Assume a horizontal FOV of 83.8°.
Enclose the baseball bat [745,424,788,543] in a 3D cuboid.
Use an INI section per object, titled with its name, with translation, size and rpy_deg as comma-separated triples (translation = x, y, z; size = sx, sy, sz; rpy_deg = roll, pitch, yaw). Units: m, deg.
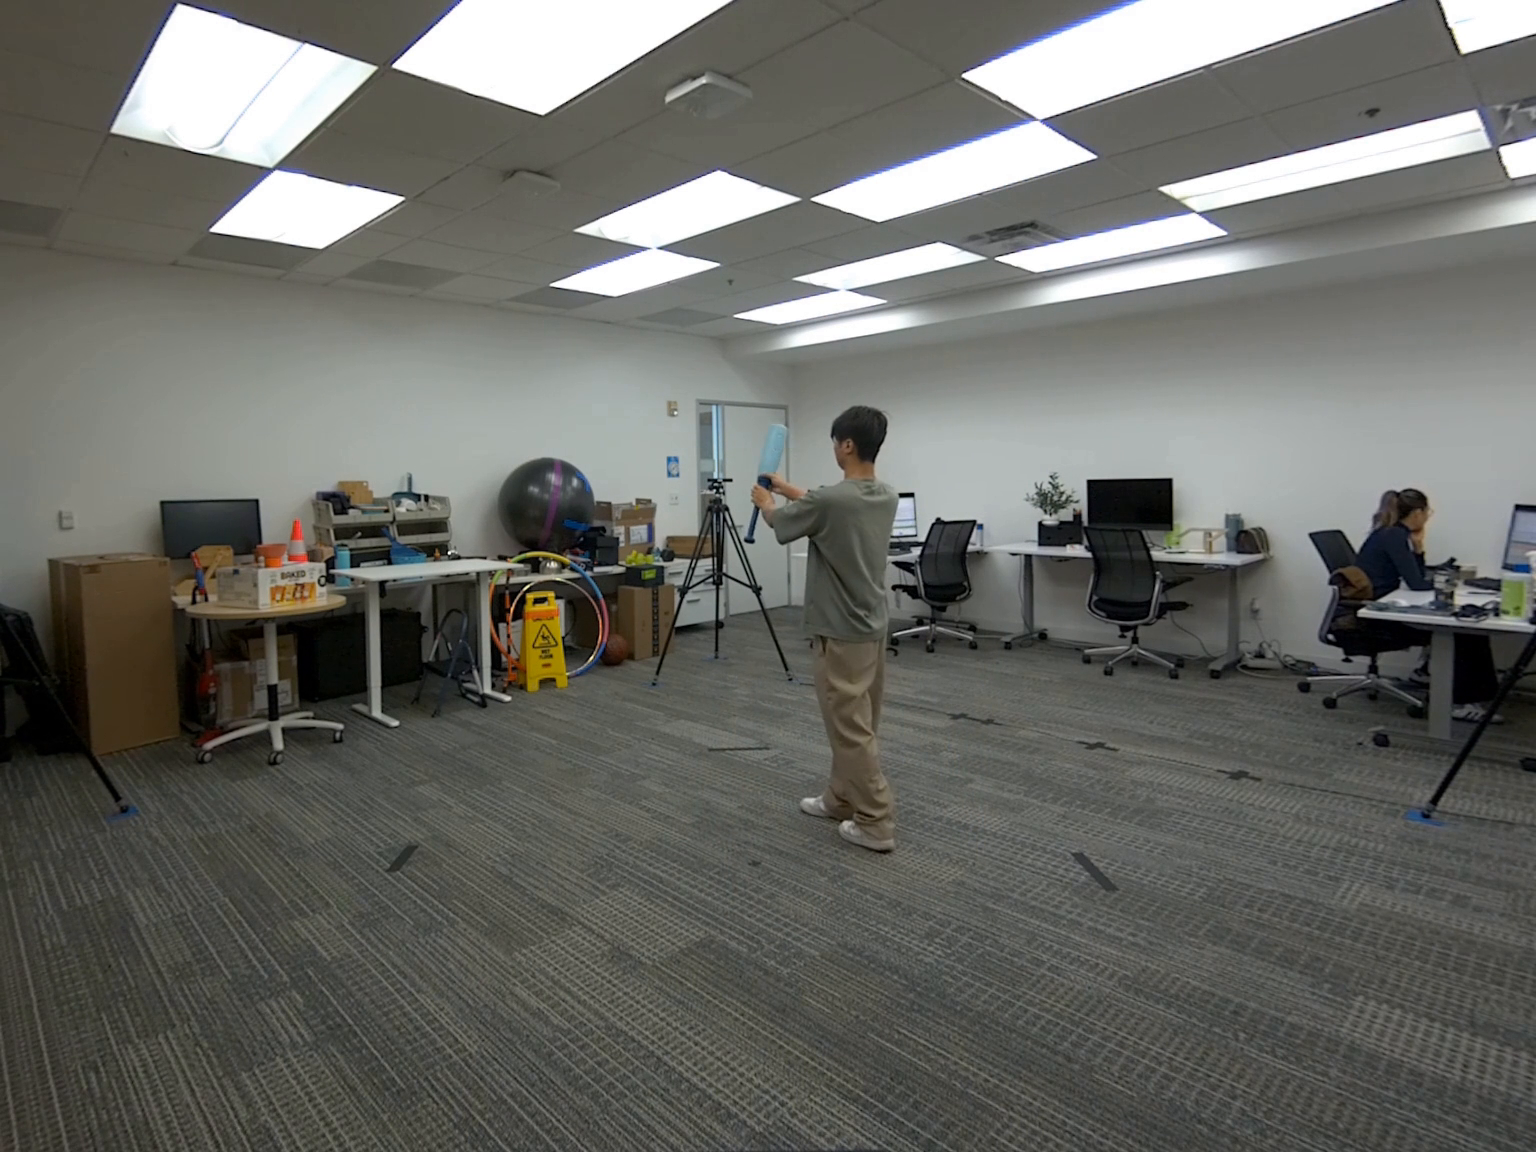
[baseball bat]
translation = -0.022, -0.400, 3.715
size = 0.089, 0.547, 0.088
rpy_deg = 14, -11, 1
